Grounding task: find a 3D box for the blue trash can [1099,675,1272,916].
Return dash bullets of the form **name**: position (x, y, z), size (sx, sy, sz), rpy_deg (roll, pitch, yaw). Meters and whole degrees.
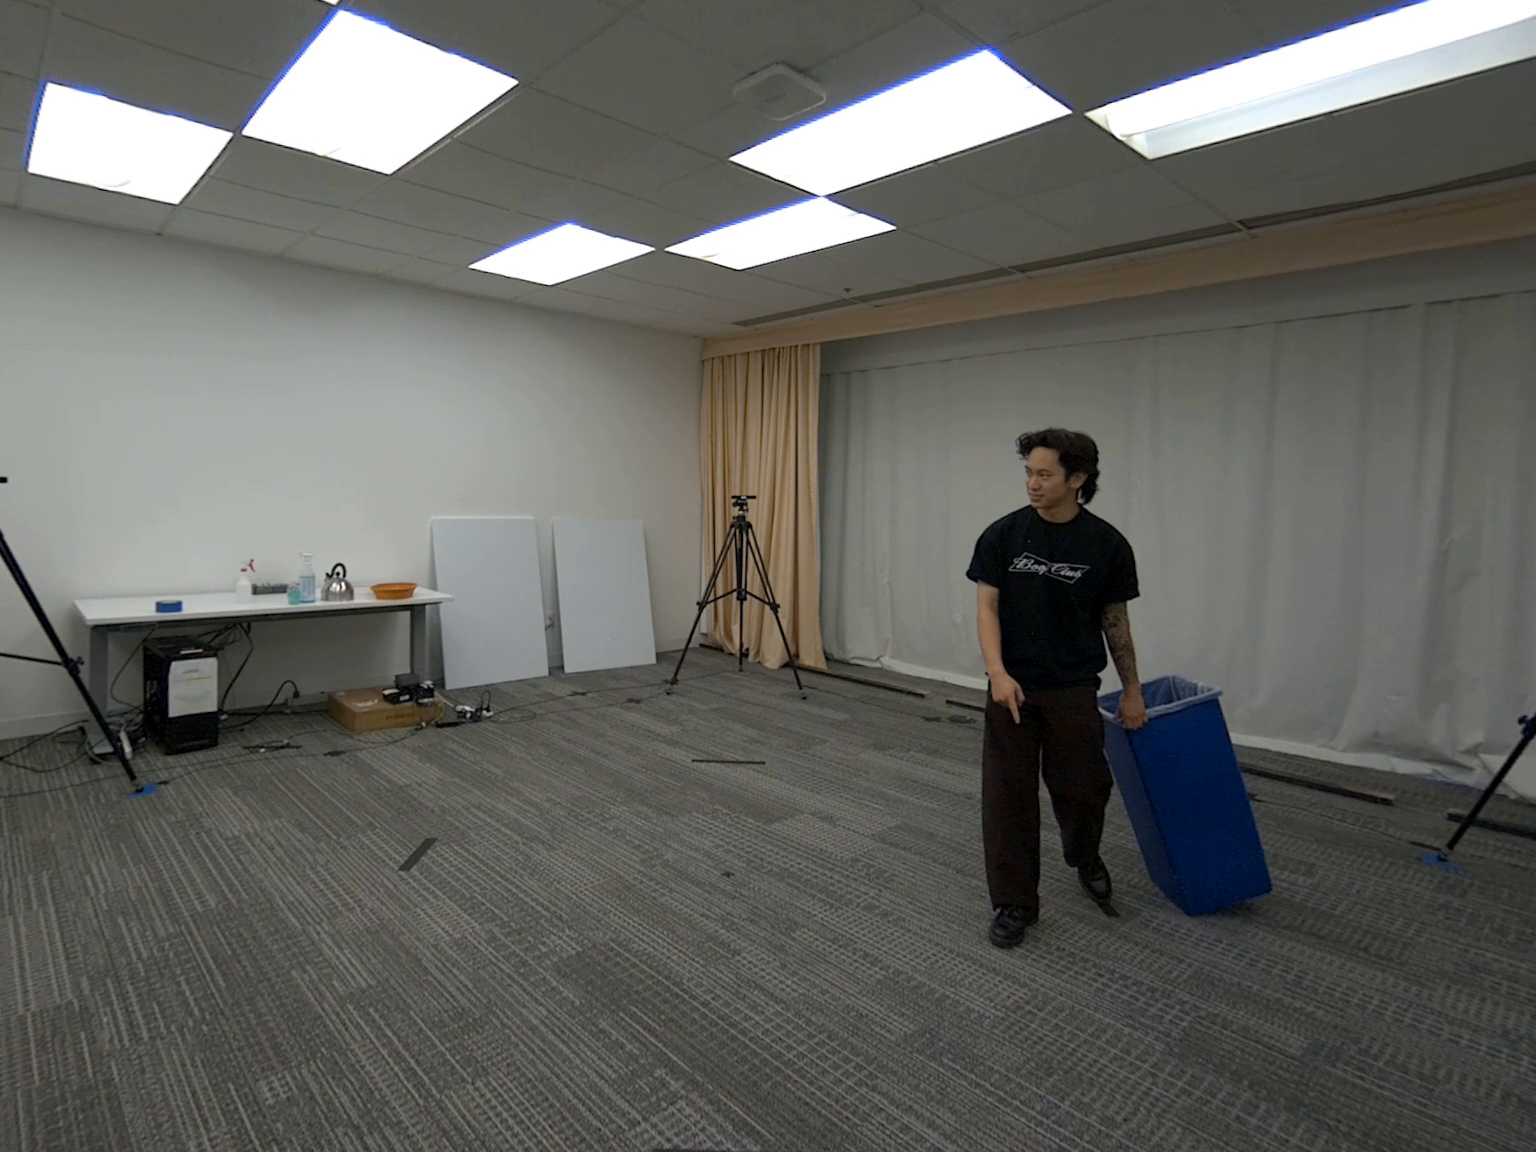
- **blue trash can**: position (1.462, 0.770, 3.009), size (0.374, 0.714, 0.378), rpy_deg (-17, 0, 1)
